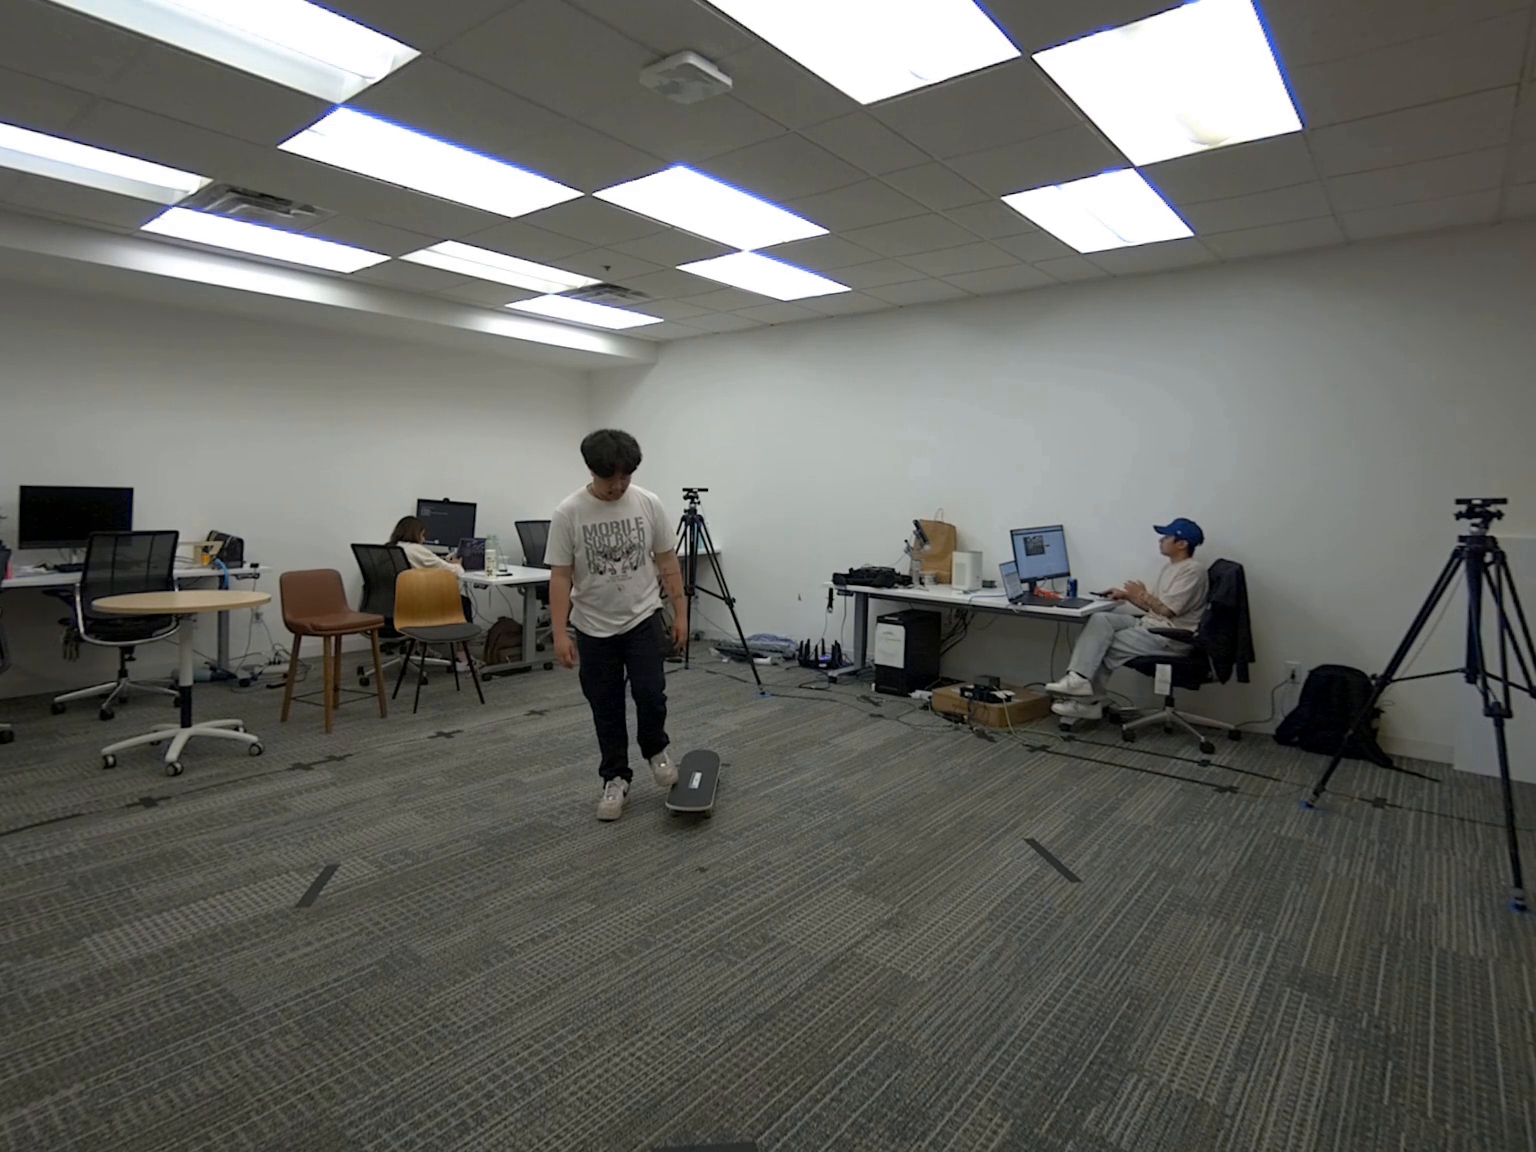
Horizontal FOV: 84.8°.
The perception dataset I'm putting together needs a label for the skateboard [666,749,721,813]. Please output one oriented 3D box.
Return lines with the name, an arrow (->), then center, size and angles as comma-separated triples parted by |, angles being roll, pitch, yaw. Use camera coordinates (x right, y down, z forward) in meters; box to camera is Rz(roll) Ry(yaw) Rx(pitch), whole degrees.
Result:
skateboard -> -0.344, 0.944, 3.811 | 0.194, 0.110, 0.786 | 1, 6, 1
